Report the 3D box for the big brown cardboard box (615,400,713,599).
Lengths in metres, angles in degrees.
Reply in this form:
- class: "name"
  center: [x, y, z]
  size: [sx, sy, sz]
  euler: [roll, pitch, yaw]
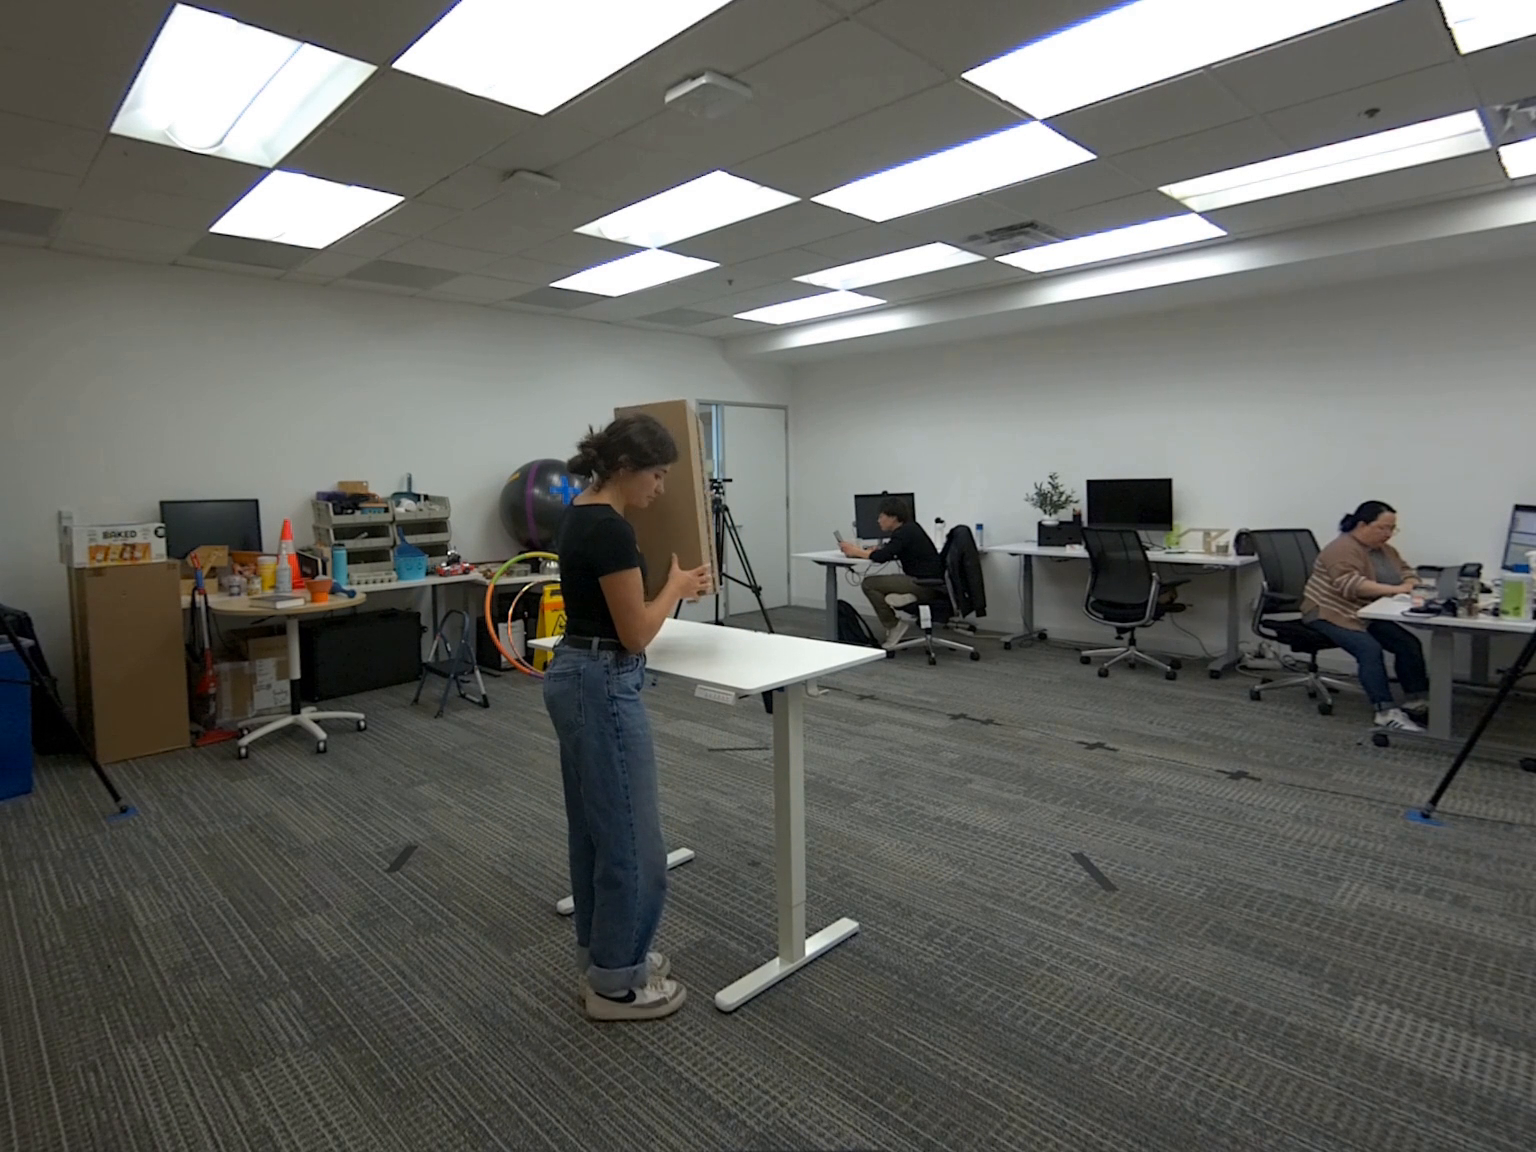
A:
- class: "big brown cardboard box"
  center: [-0.300, -0.210, 2.619]
  size: [0.234, 0.591, 0.415]
  euler: [-5, -3, 3]
